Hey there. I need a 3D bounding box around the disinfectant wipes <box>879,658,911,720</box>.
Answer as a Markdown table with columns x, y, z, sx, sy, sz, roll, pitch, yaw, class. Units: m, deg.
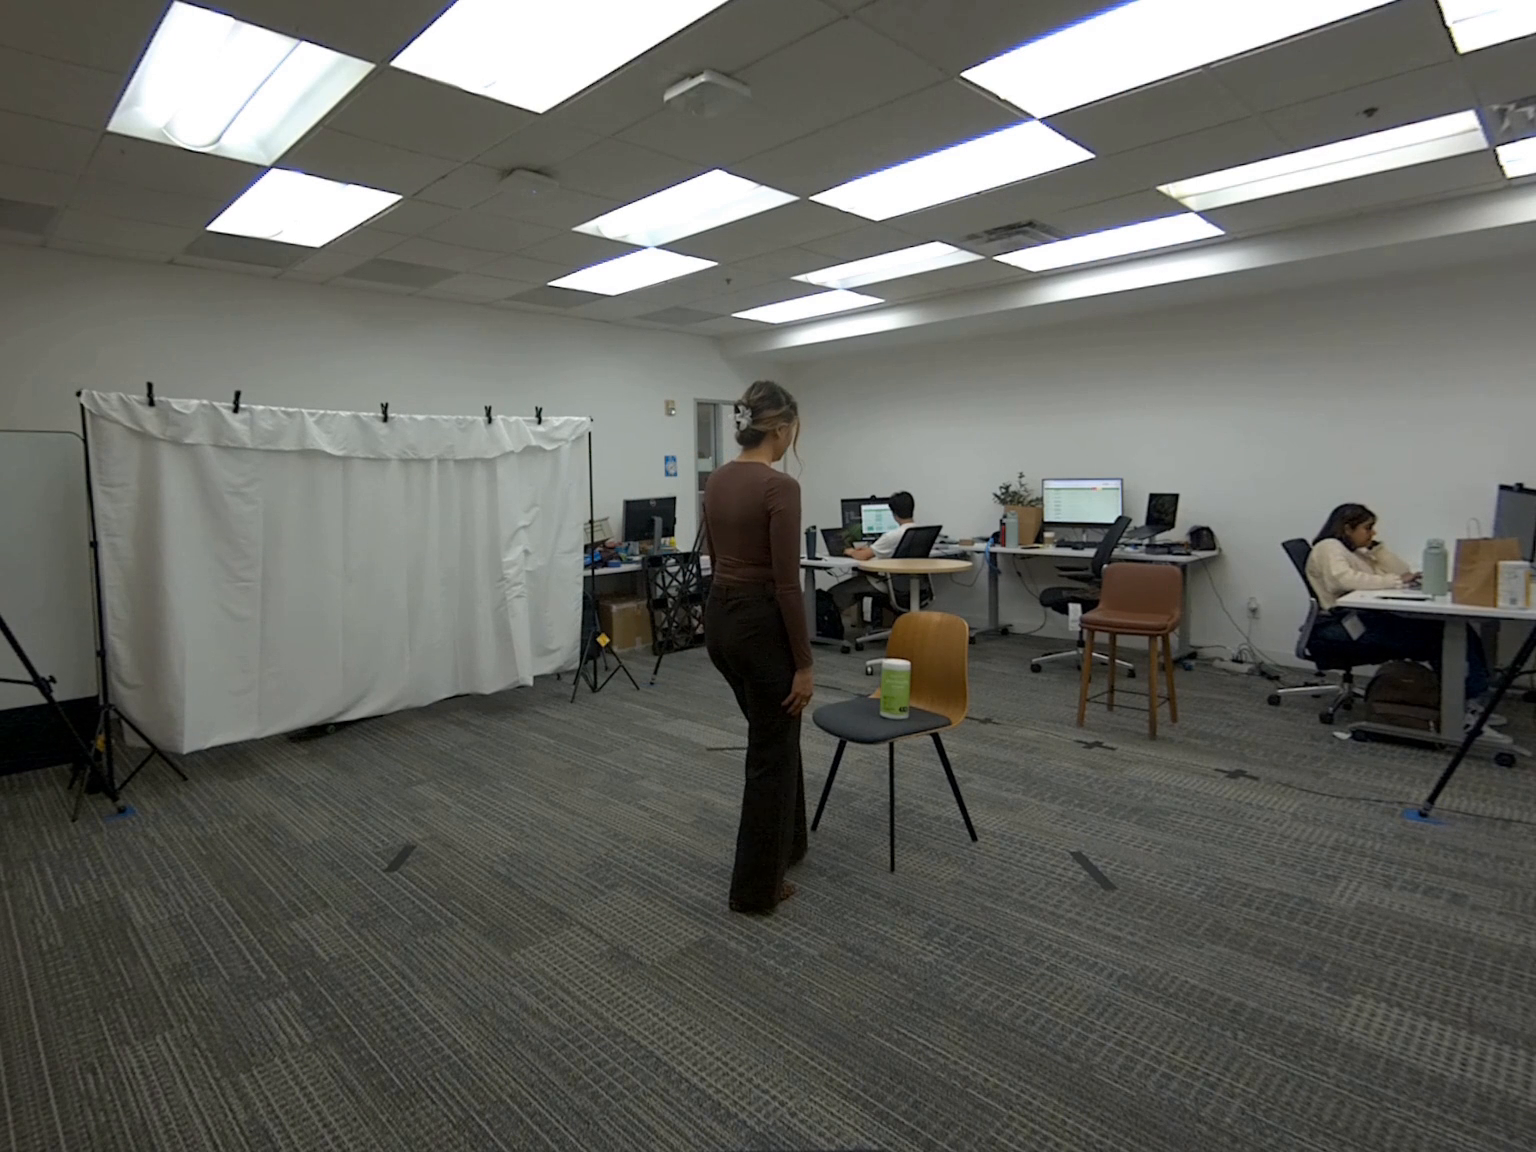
| x | y | z | sx | sy | sz | roll | pitch | yaw | class |
| --- | --- | --- | --- | --- | --- | --- | --- | --- | --- |
| 0.498 | 0.437 | 3.297 | 0.118 | 0.217 | 0.118 | 2 | 1 | -2 | disinfectant wipes |
